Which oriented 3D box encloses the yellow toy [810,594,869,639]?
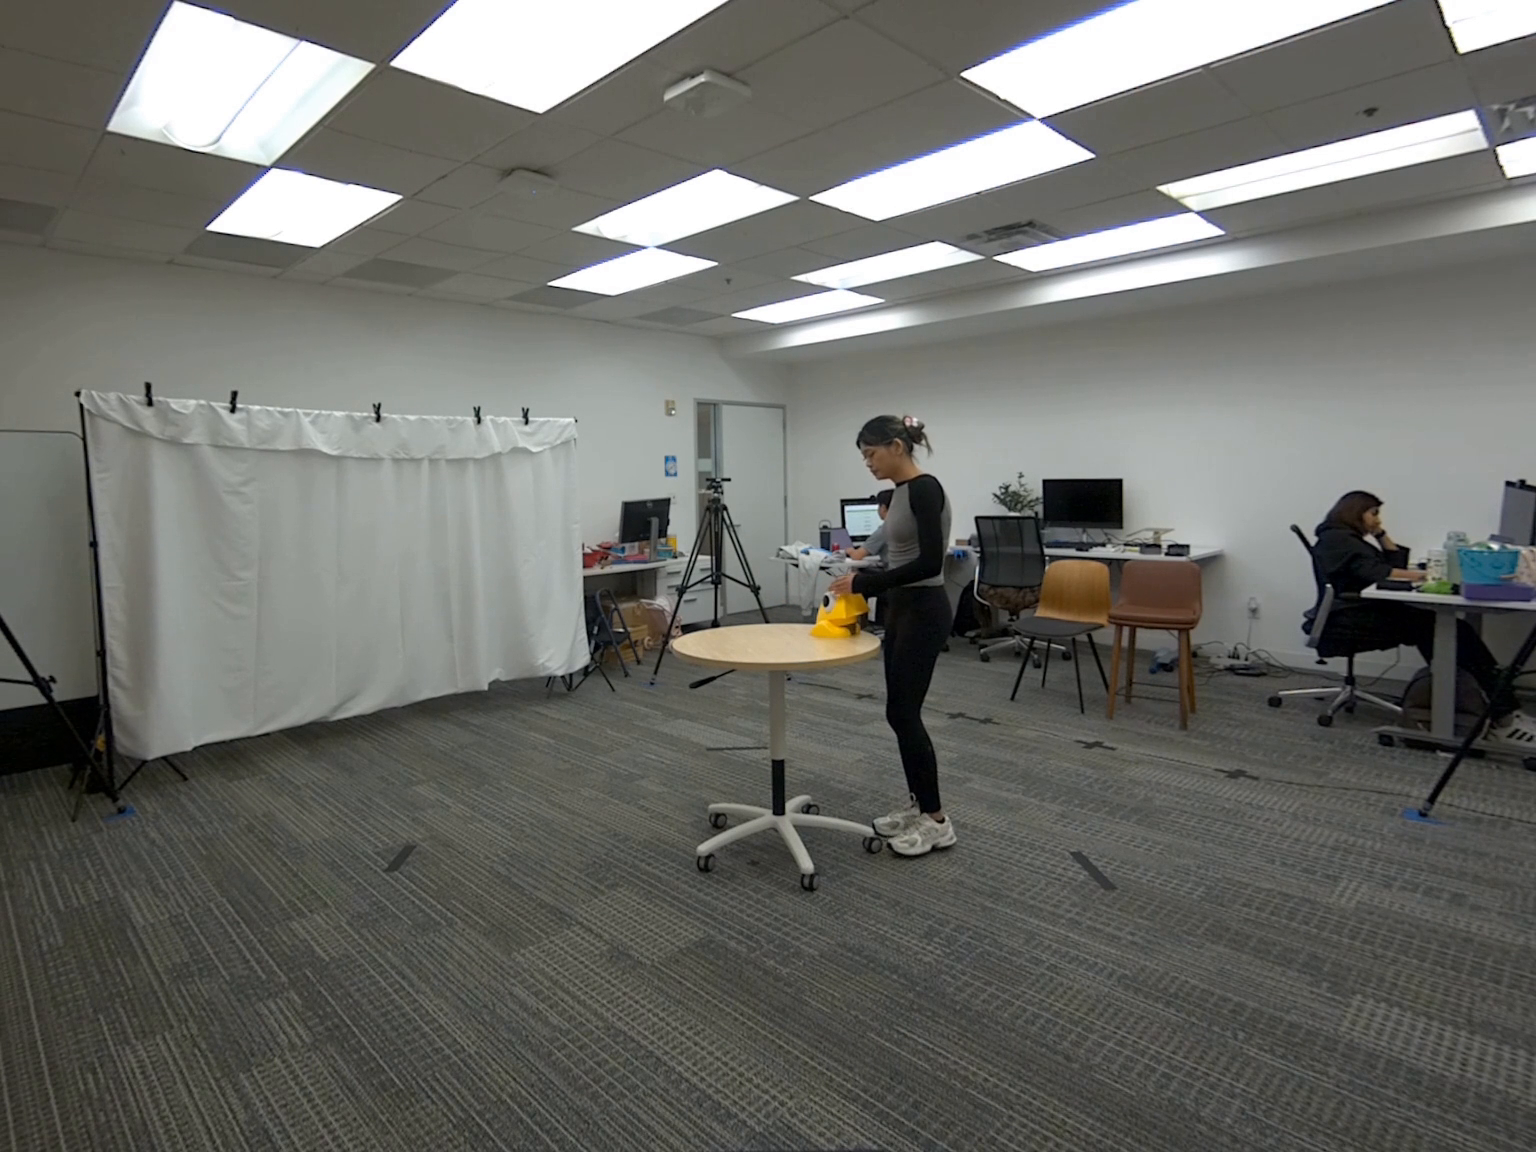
[{"bbox_3d":[0.274,0.107,3.280,0.198,0.230,0.200,-1,3,34],"label":"yellow toy"}]
